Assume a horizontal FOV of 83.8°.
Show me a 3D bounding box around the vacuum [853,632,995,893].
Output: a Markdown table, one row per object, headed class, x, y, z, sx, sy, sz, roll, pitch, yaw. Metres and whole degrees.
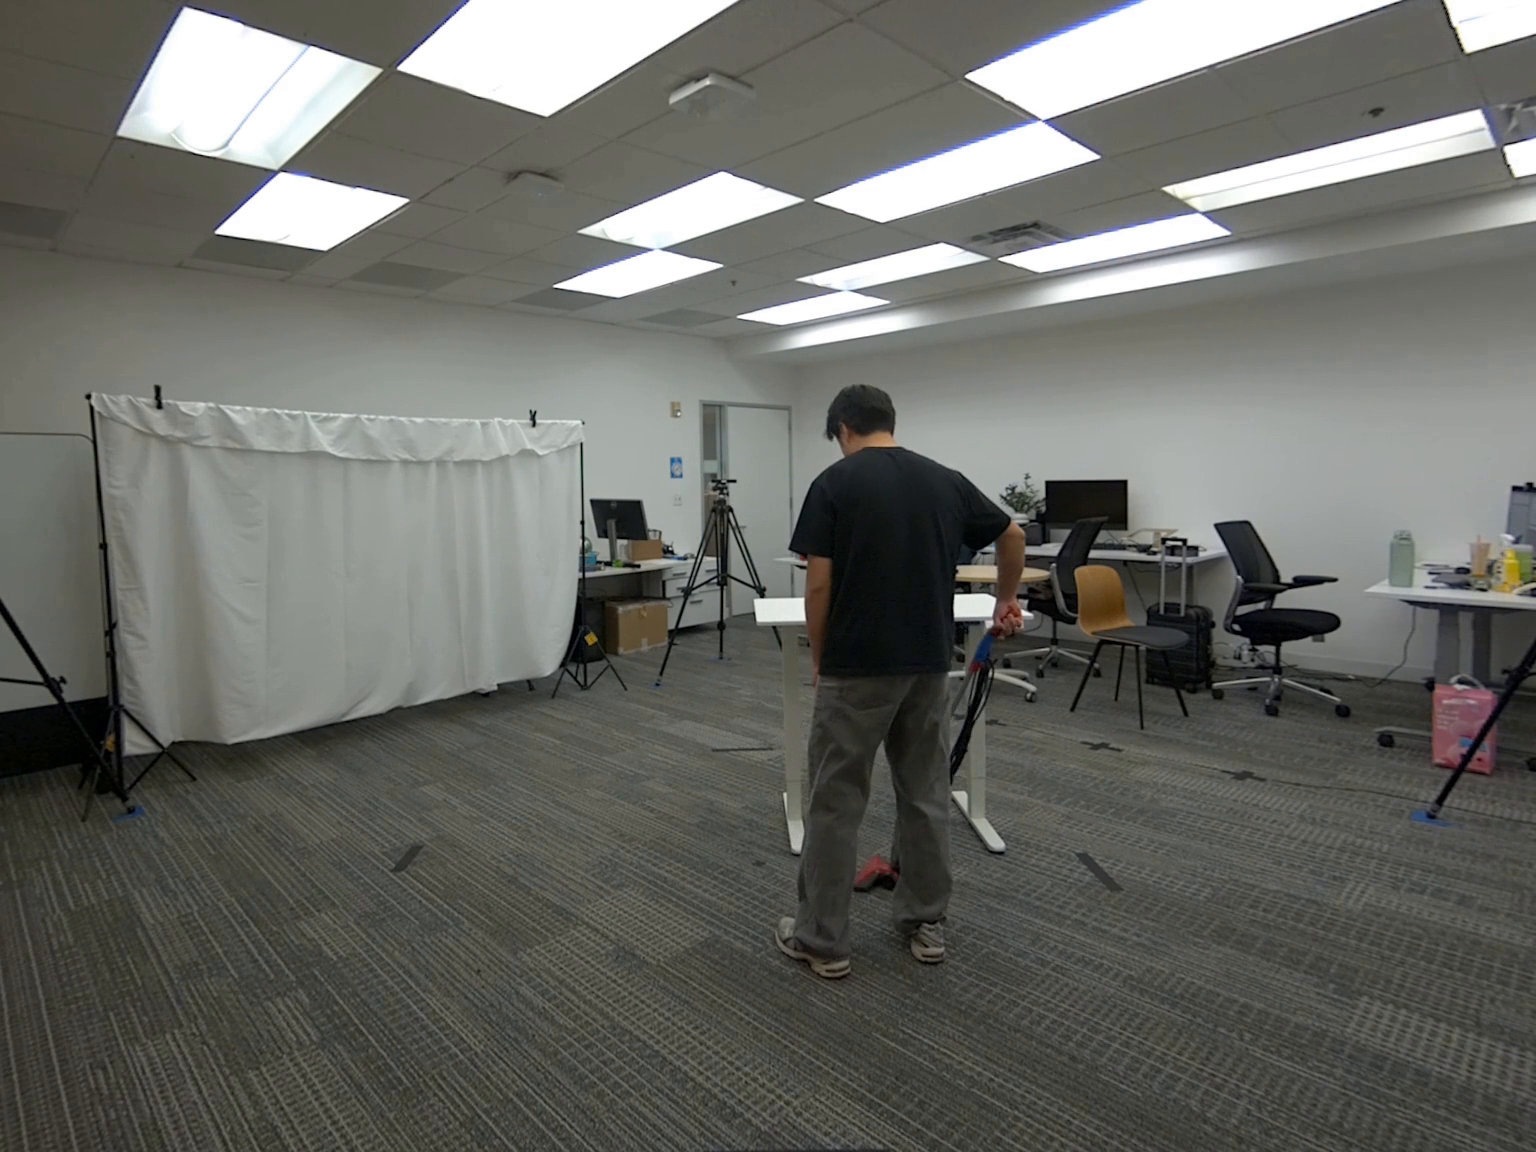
| class | x | y | z | sx | sy | sz | roll | pitch | yaw |
| --- | --- | --- | --- | --- | --- | --- | --- | --- | --- |
| vacuum | 0.586 | 0.596 | 2.828 | 0.149 | 1.041 | 0.246 | 32 | 19 | 28 |
